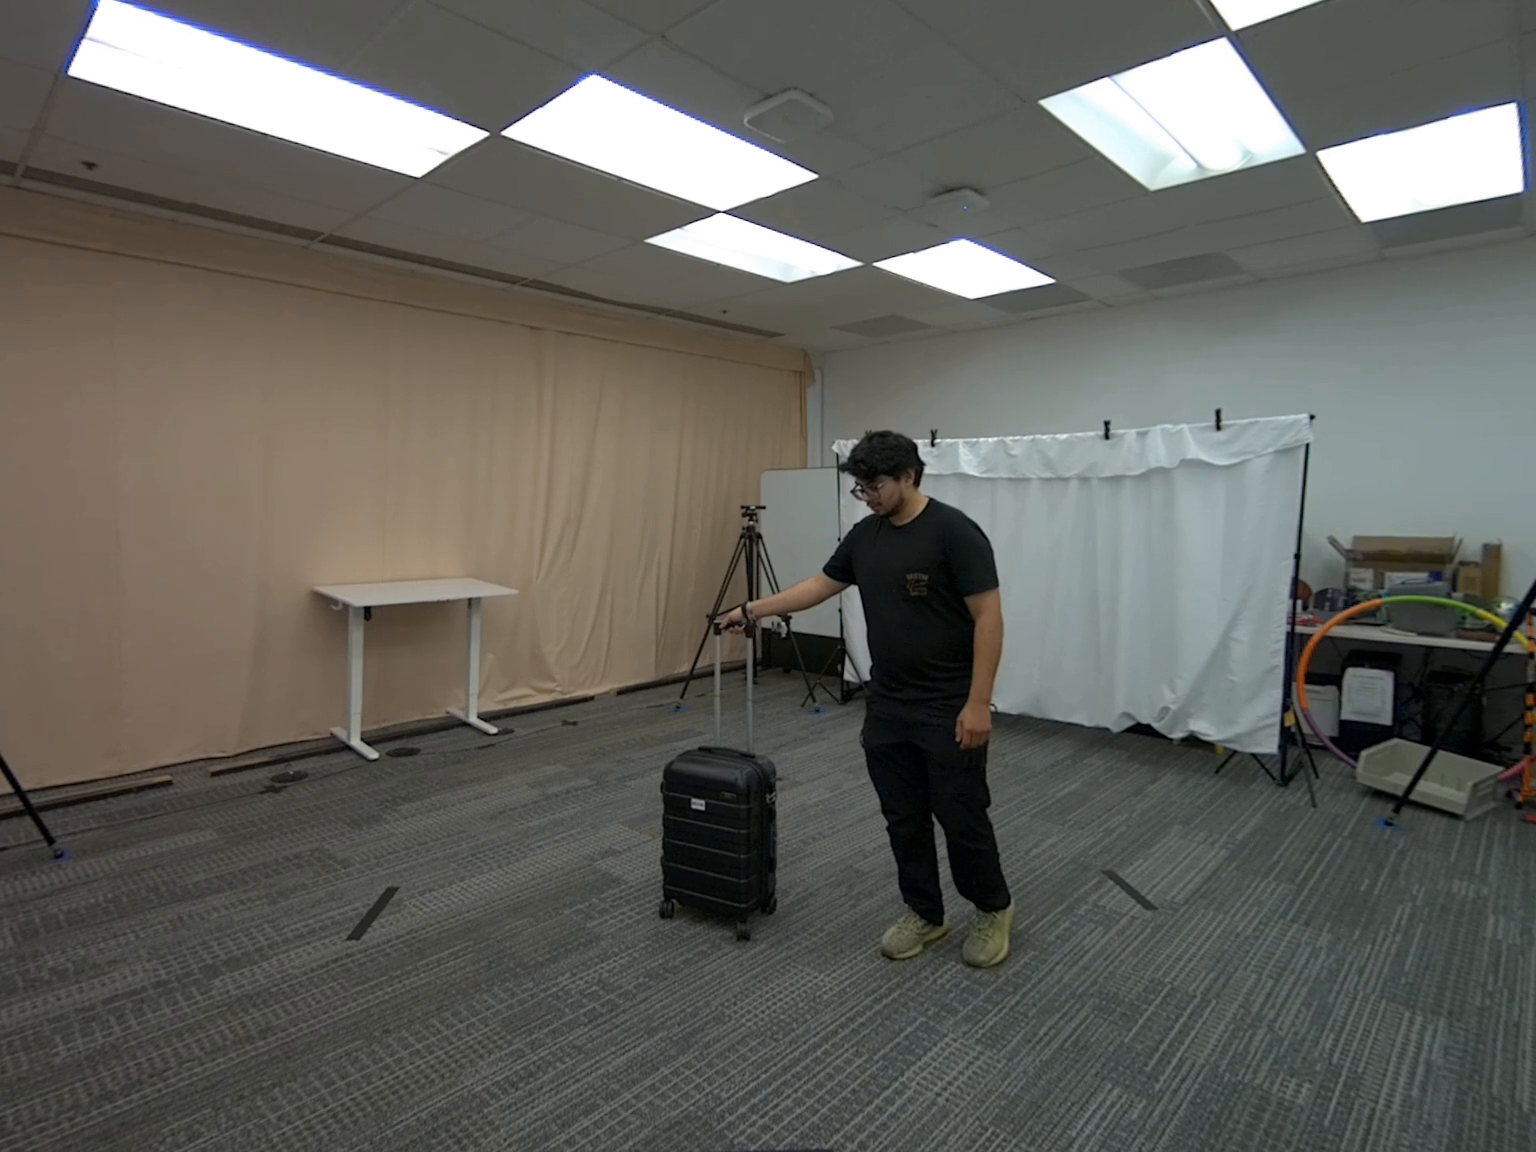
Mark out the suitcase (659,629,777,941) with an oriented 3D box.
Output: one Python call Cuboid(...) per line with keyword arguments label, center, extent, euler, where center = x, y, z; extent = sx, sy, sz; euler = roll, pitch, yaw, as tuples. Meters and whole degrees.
Cuboid(label="suitcase", center=(-0.164, 0.674, 2.868), extent=(0.394, 0.976, 0.251), euler=(1, 4, 27))
